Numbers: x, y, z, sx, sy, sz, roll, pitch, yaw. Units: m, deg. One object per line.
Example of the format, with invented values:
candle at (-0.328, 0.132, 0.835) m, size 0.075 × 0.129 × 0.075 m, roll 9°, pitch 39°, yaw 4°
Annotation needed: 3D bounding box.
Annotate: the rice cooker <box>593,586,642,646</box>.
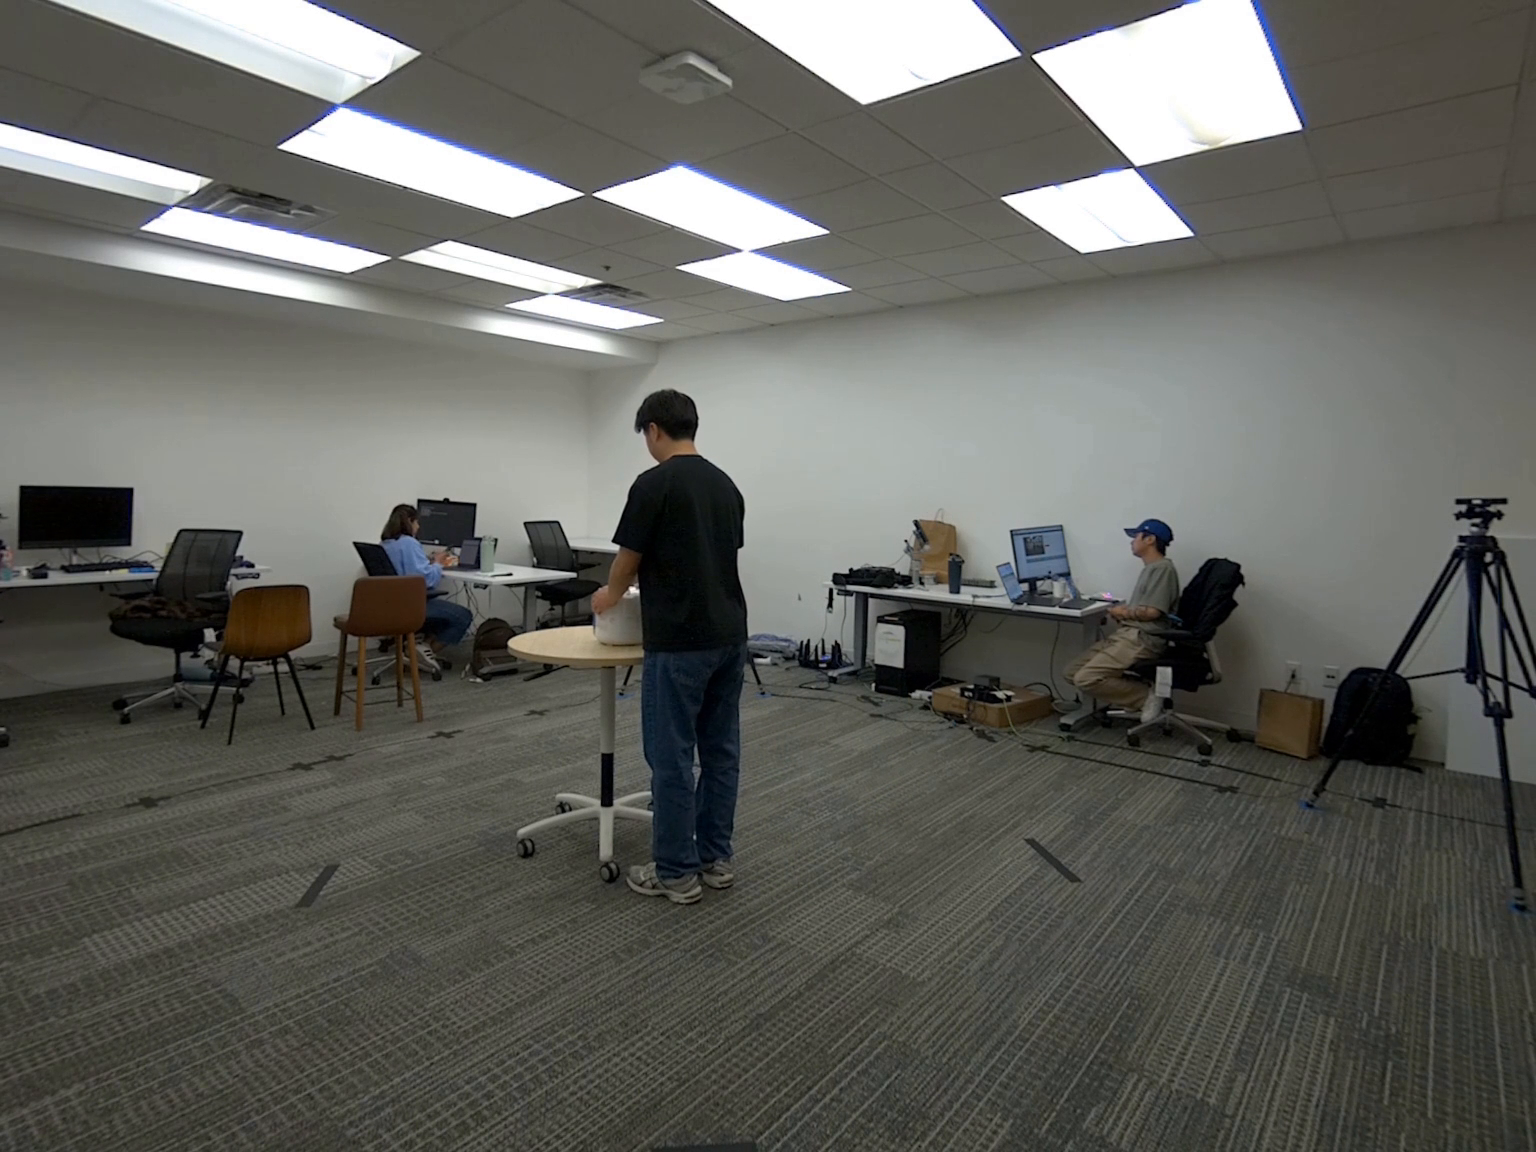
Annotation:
rice cooker at (-0.565, 0.136, 3.265) m, size 0.213 × 0.232 × 0.226 m, roll -1°, pitch 5°, yaw -21°
